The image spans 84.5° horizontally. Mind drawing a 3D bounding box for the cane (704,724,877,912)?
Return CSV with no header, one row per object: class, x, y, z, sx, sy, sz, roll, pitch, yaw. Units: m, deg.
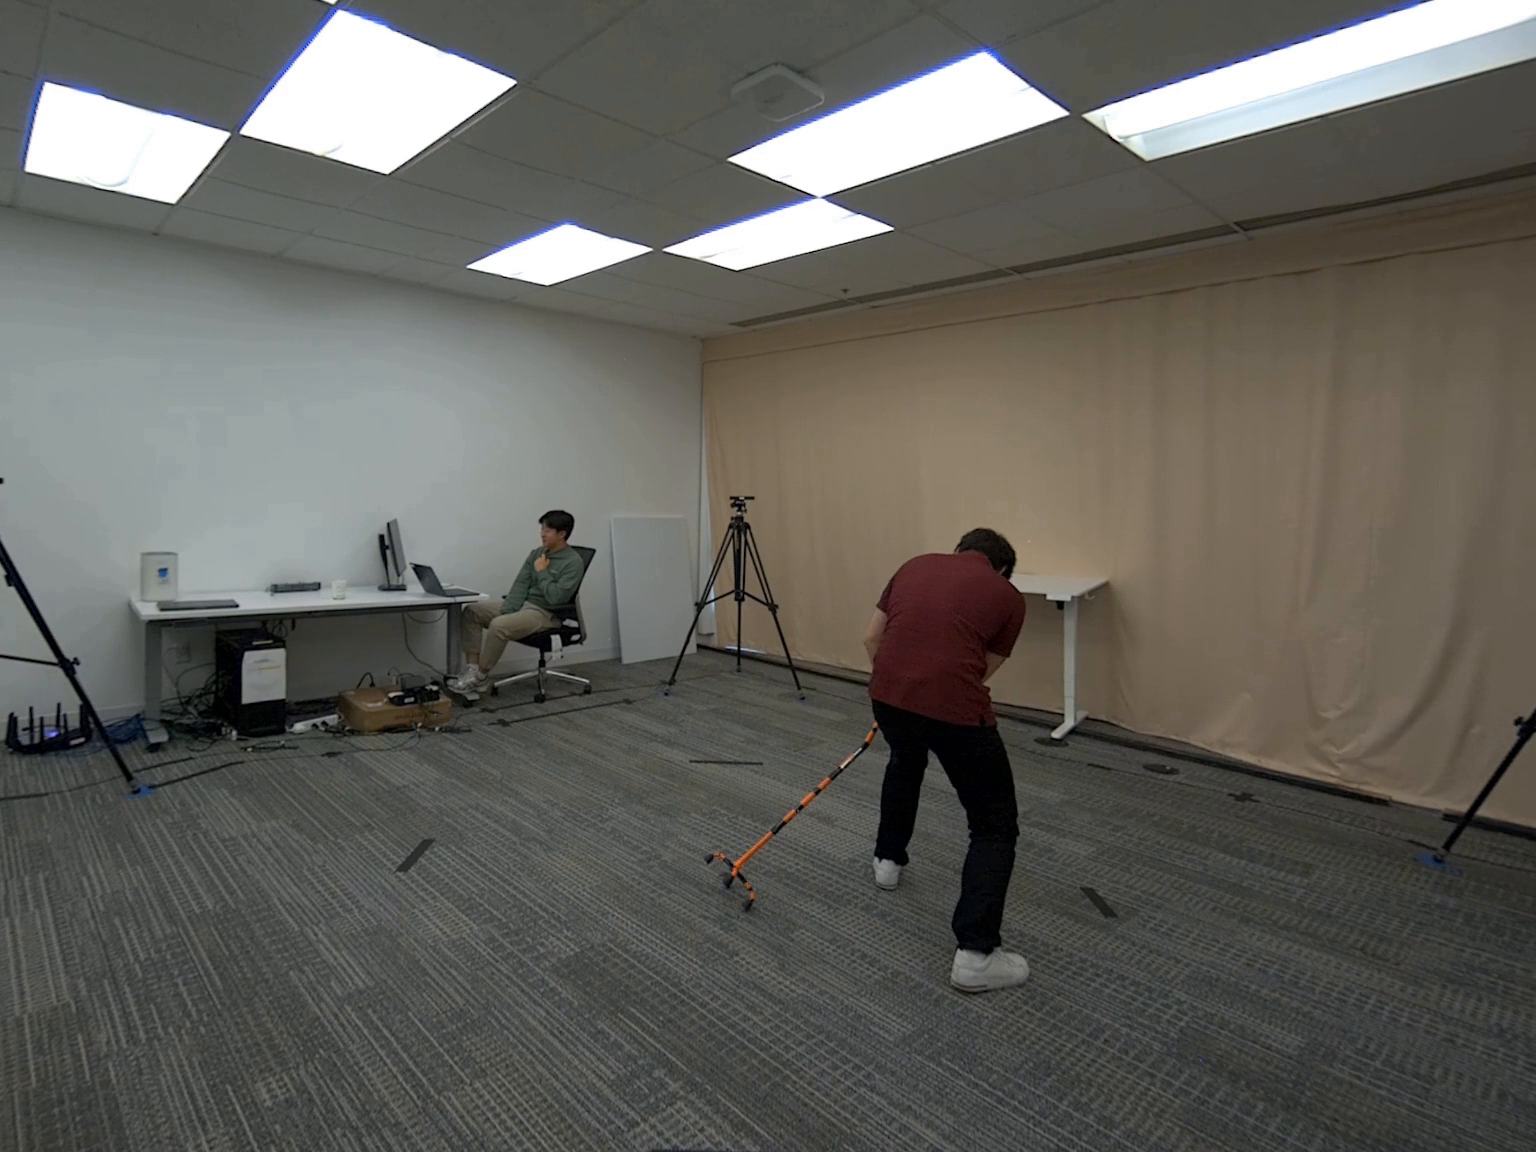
cane,0.174,0.776,3.019,0.906,0.149,0.210,-40,18,-16
